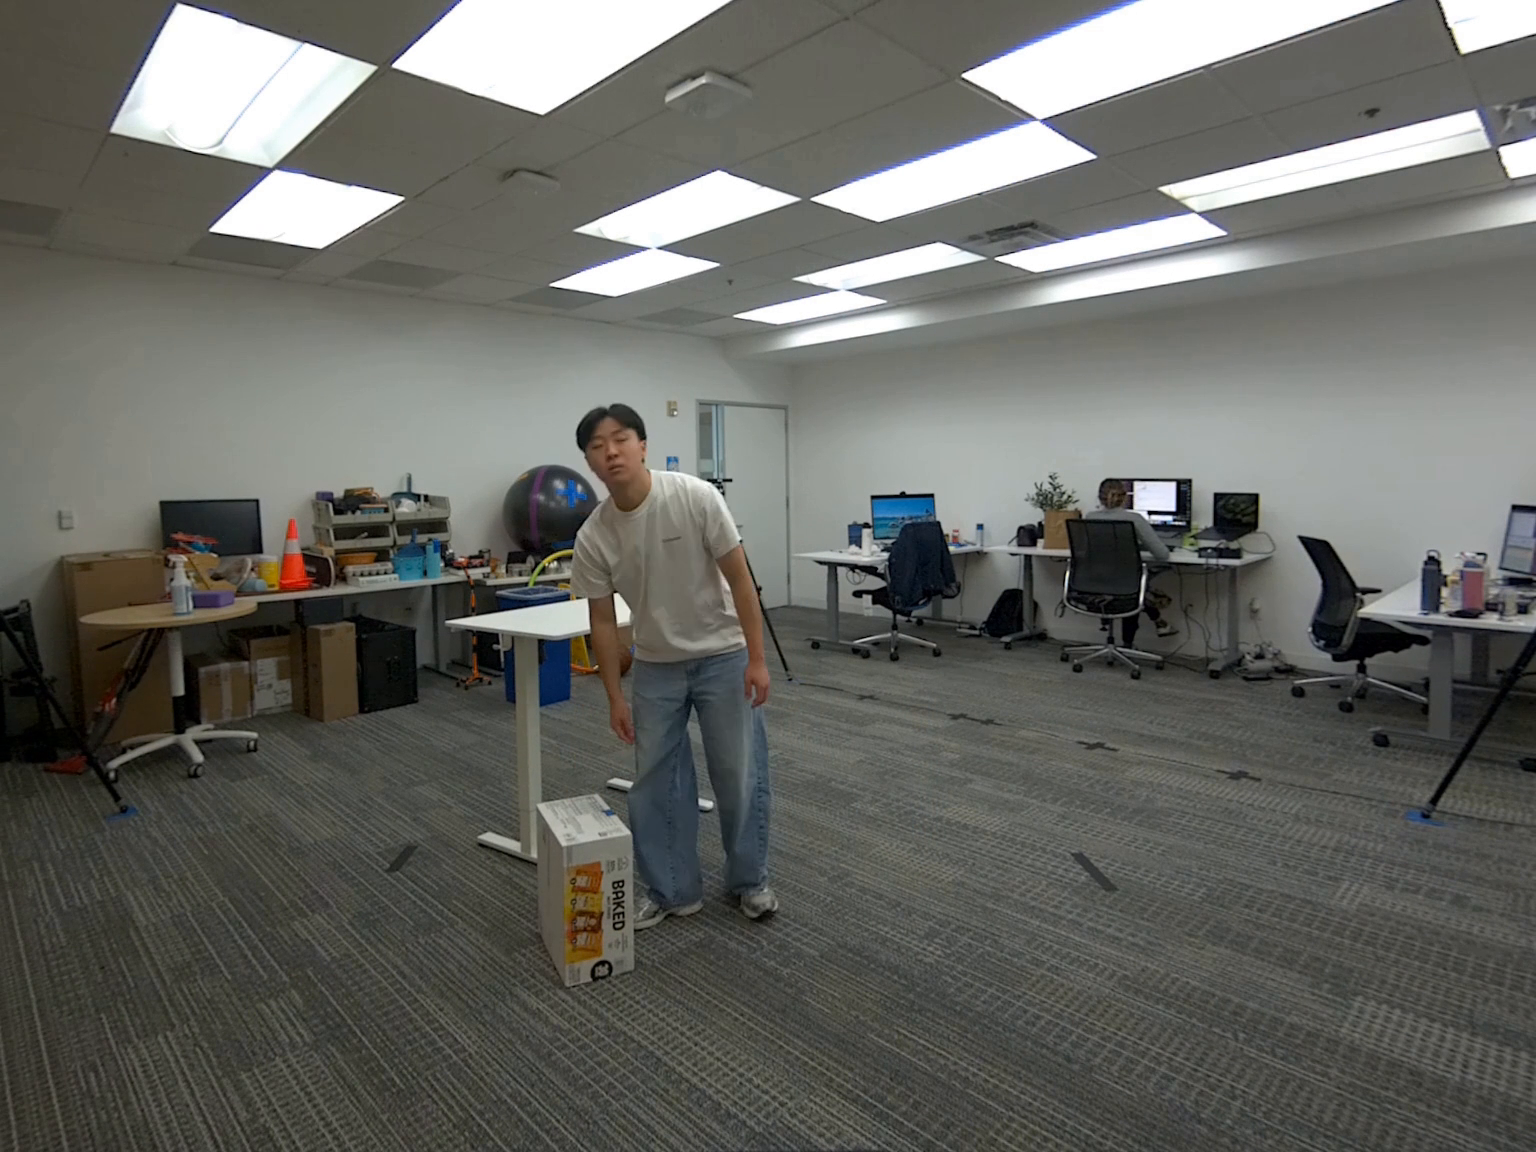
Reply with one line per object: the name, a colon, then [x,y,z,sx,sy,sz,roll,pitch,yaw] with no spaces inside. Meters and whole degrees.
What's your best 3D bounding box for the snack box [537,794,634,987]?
snack box: [-0.547,0.918,2.539,0.201,0.403,0.349,-3,5,-27]
